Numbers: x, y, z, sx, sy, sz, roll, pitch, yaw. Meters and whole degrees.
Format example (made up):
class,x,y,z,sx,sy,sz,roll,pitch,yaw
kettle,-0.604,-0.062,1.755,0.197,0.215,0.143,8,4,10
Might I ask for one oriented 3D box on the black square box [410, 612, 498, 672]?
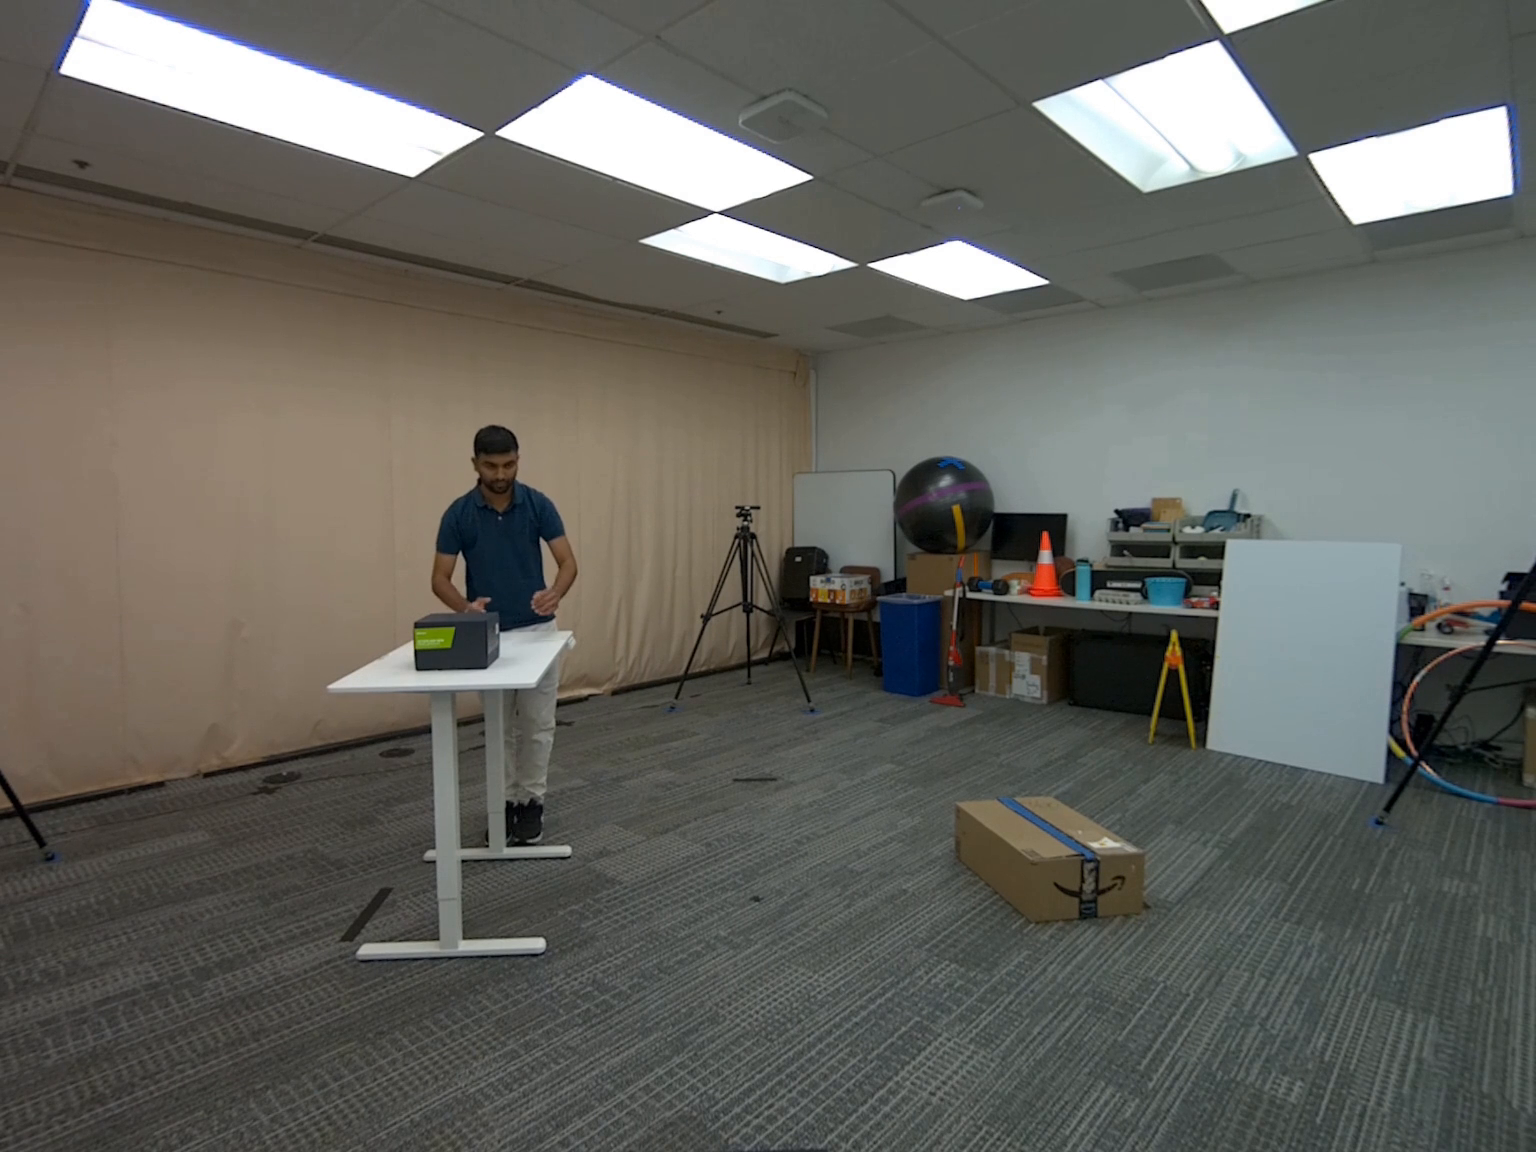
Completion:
class,x,y,z,sx,sy,sz,roll,pitch,yaw
black square box,-1.024,0.208,2.774,0.226,0.155,0.219,-1,5,-7
